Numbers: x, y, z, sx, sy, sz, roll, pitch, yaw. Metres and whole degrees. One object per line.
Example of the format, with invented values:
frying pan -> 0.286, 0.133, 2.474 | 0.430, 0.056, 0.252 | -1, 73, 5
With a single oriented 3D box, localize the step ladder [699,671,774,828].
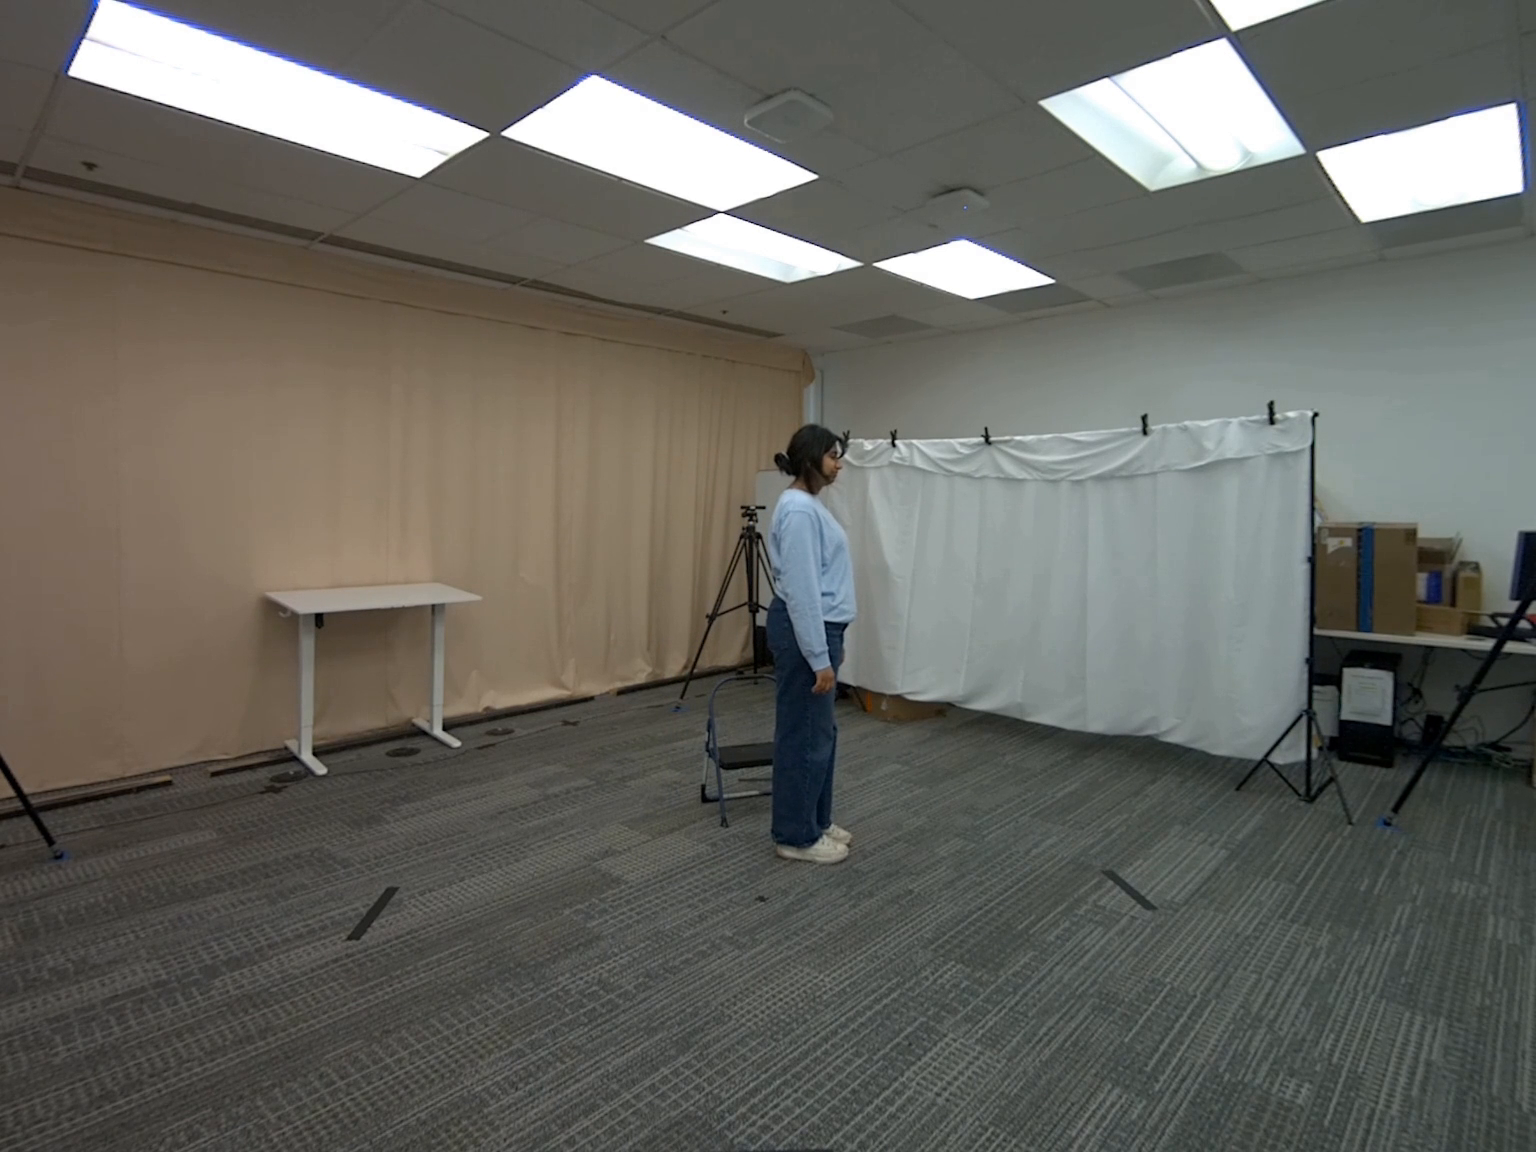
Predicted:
step ladder -> -0.065, 0.772, 3.867 | 0.422, 0.605, 0.357 | -1, 3, -20
